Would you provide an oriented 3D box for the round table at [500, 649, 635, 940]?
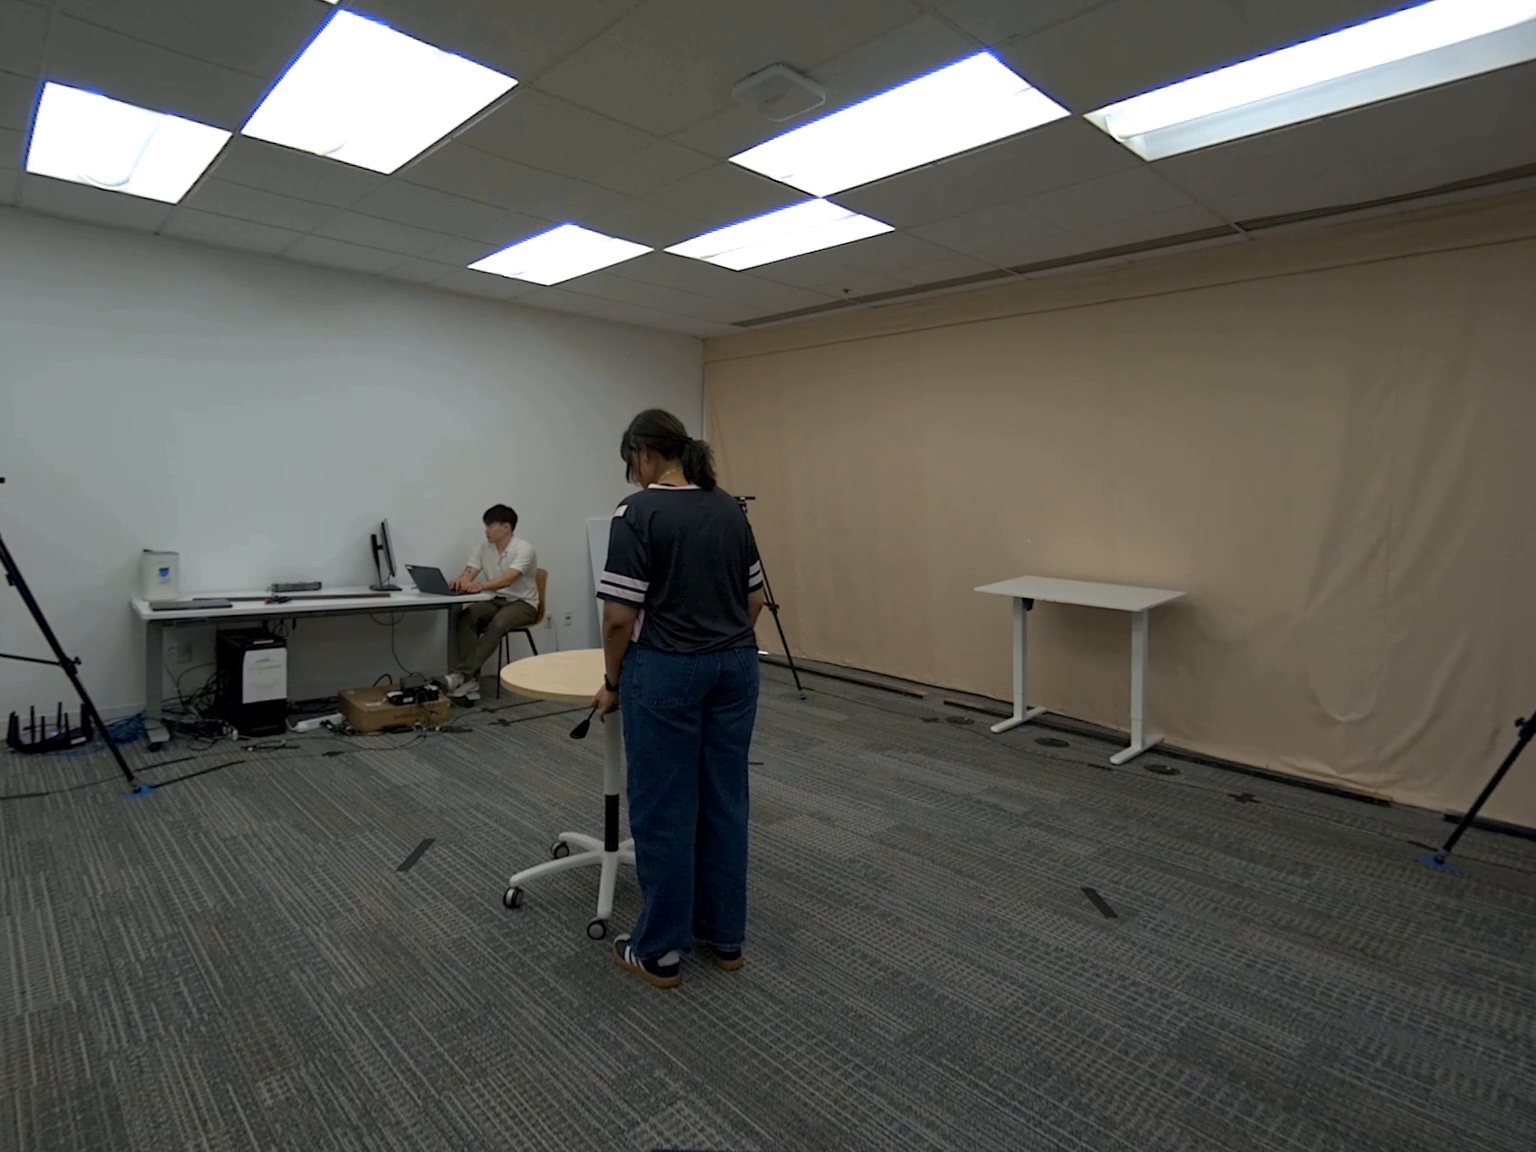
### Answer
[{"bbox_3d":[-0.557,0.719,2.962,0.763,0.792,0.767,1,4,-1],"label":"round table"}]
